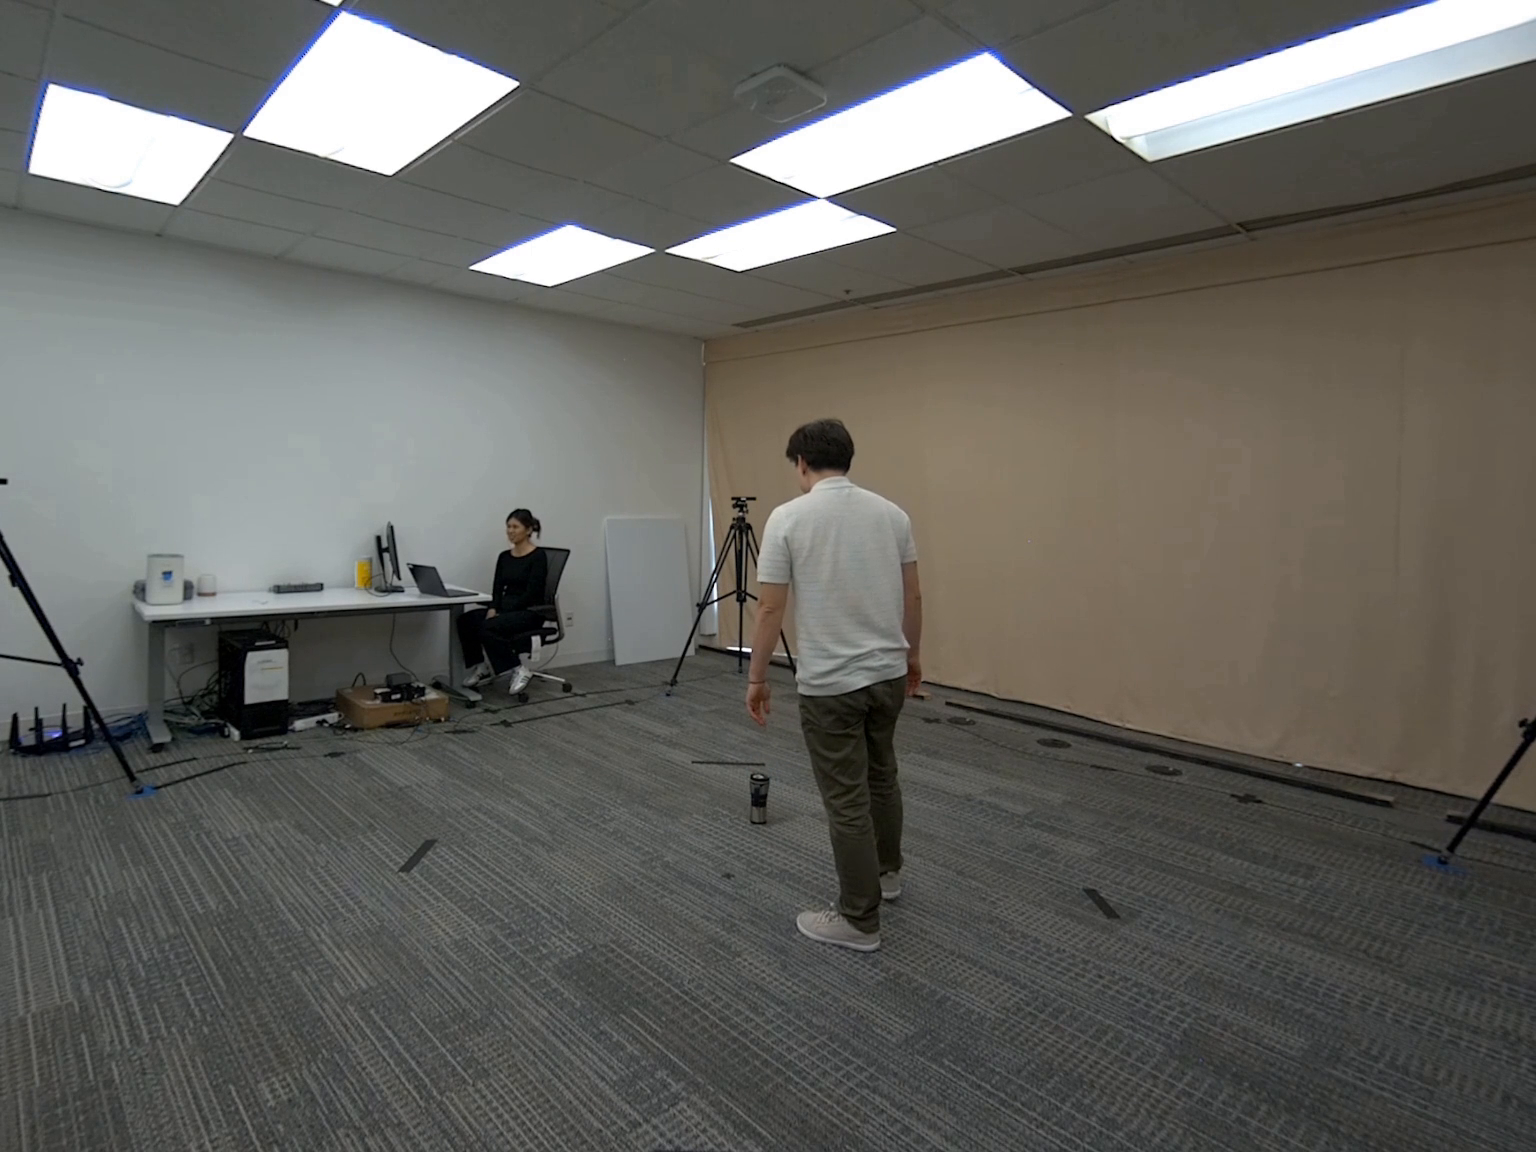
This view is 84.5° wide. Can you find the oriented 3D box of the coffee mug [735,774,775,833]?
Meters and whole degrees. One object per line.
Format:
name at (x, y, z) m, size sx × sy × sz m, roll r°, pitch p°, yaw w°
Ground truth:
coffee mug at (-0.058, 0.968, 3.621) m, size 0.090 × 0.203 × 0.119 m, roll 9°, pitch 3°, yaw 40°
